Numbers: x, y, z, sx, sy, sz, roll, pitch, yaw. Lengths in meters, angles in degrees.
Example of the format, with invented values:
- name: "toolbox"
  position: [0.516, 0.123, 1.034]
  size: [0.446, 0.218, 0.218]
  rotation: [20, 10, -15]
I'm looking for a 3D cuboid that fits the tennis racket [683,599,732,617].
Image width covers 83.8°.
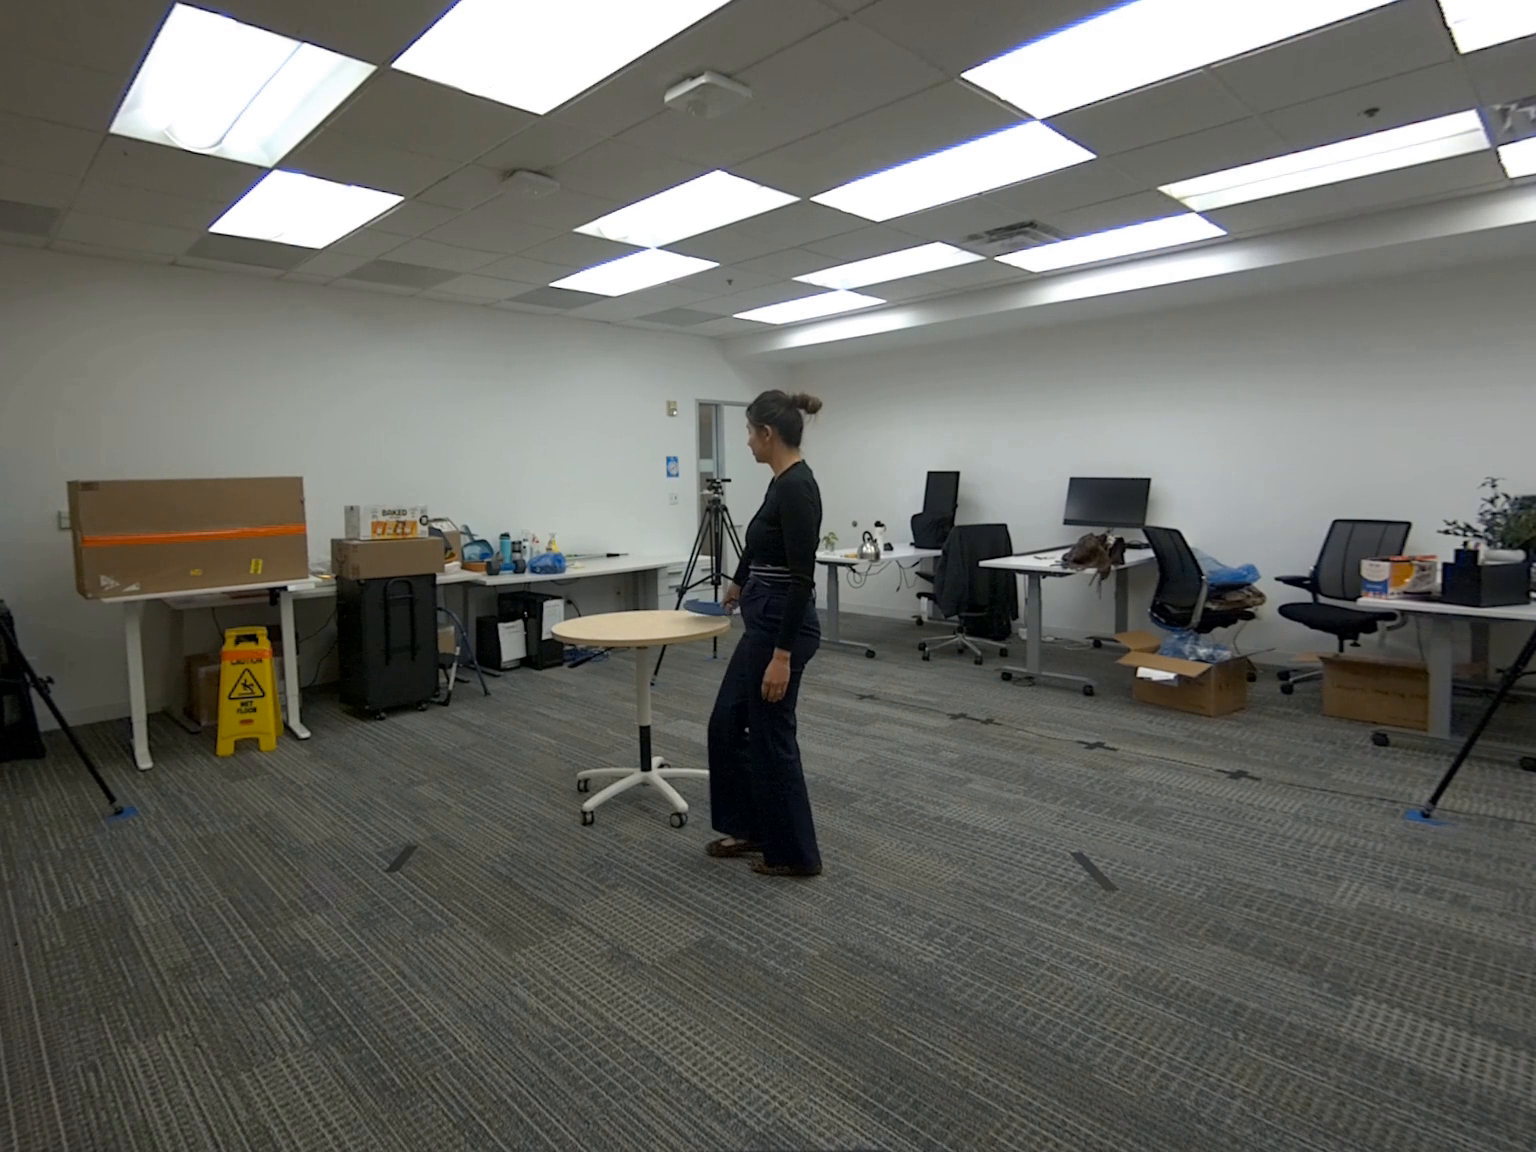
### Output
- name: "tennis racket"
  position: [-0.227, 0.133, 3.659]
  size: [0.209, 0.032, 0.438]
  rotation: [12, -11, -20]
